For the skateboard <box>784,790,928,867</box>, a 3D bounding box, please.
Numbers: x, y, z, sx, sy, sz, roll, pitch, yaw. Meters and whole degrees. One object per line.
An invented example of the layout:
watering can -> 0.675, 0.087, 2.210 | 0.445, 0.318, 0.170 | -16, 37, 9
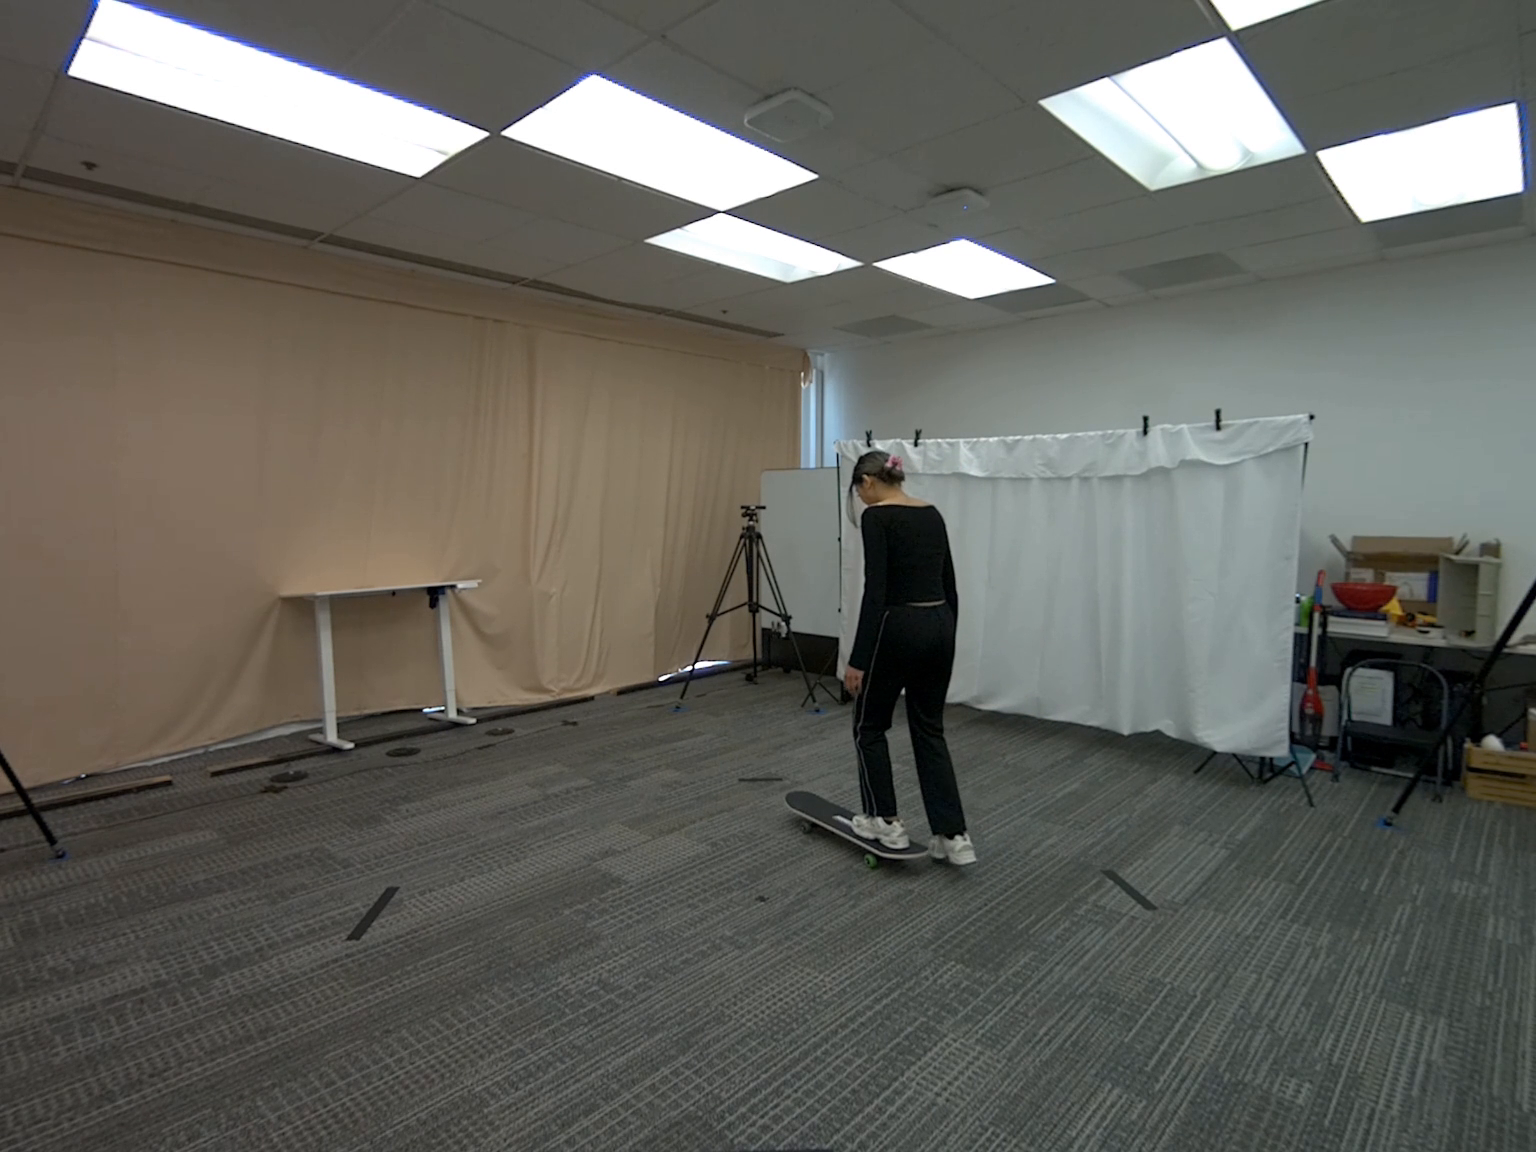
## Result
skateboard -> 0.349, 1.048, 3.452 | 0.188, 0.110, 0.810 | -2, 6, -34
